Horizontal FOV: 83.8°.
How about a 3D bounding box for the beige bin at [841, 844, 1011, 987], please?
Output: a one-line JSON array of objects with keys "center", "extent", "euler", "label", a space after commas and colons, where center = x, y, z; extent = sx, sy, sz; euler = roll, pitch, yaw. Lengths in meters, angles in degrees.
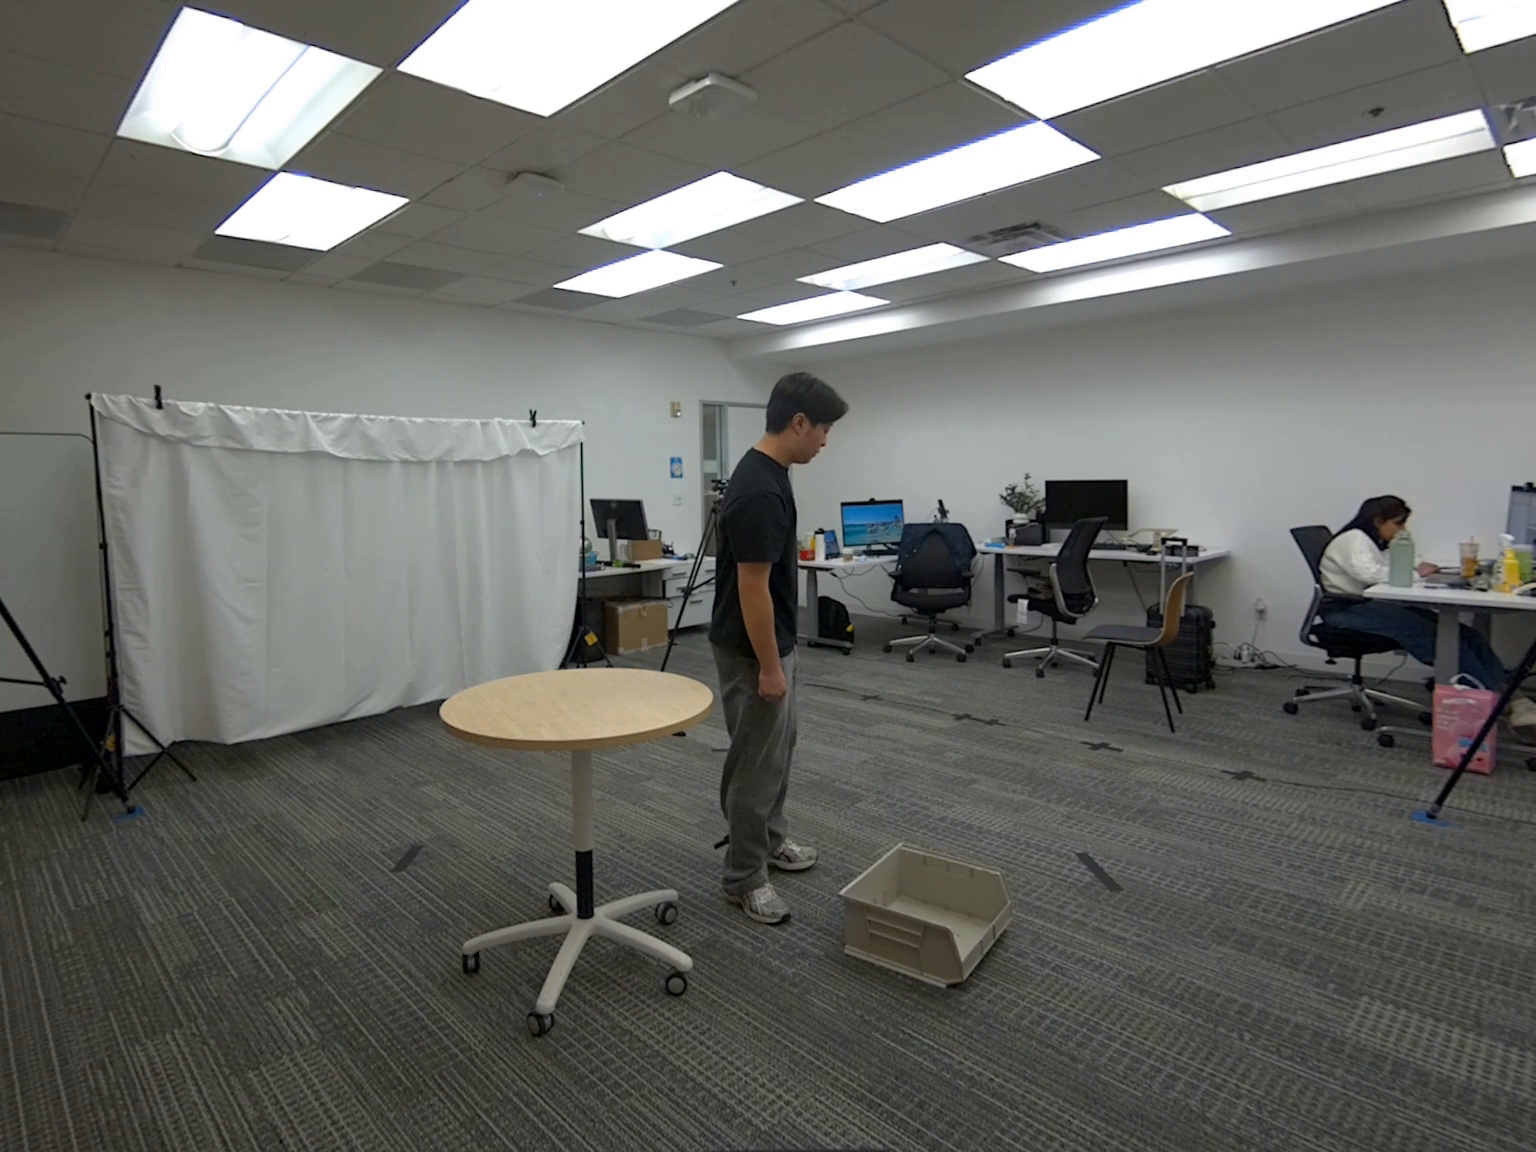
[{"center": [0.482, 1.007, 2.566], "extent": [0.388, 0.188, 0.412], "euler": [2, 7, 35], "label": "beige bin"}]
